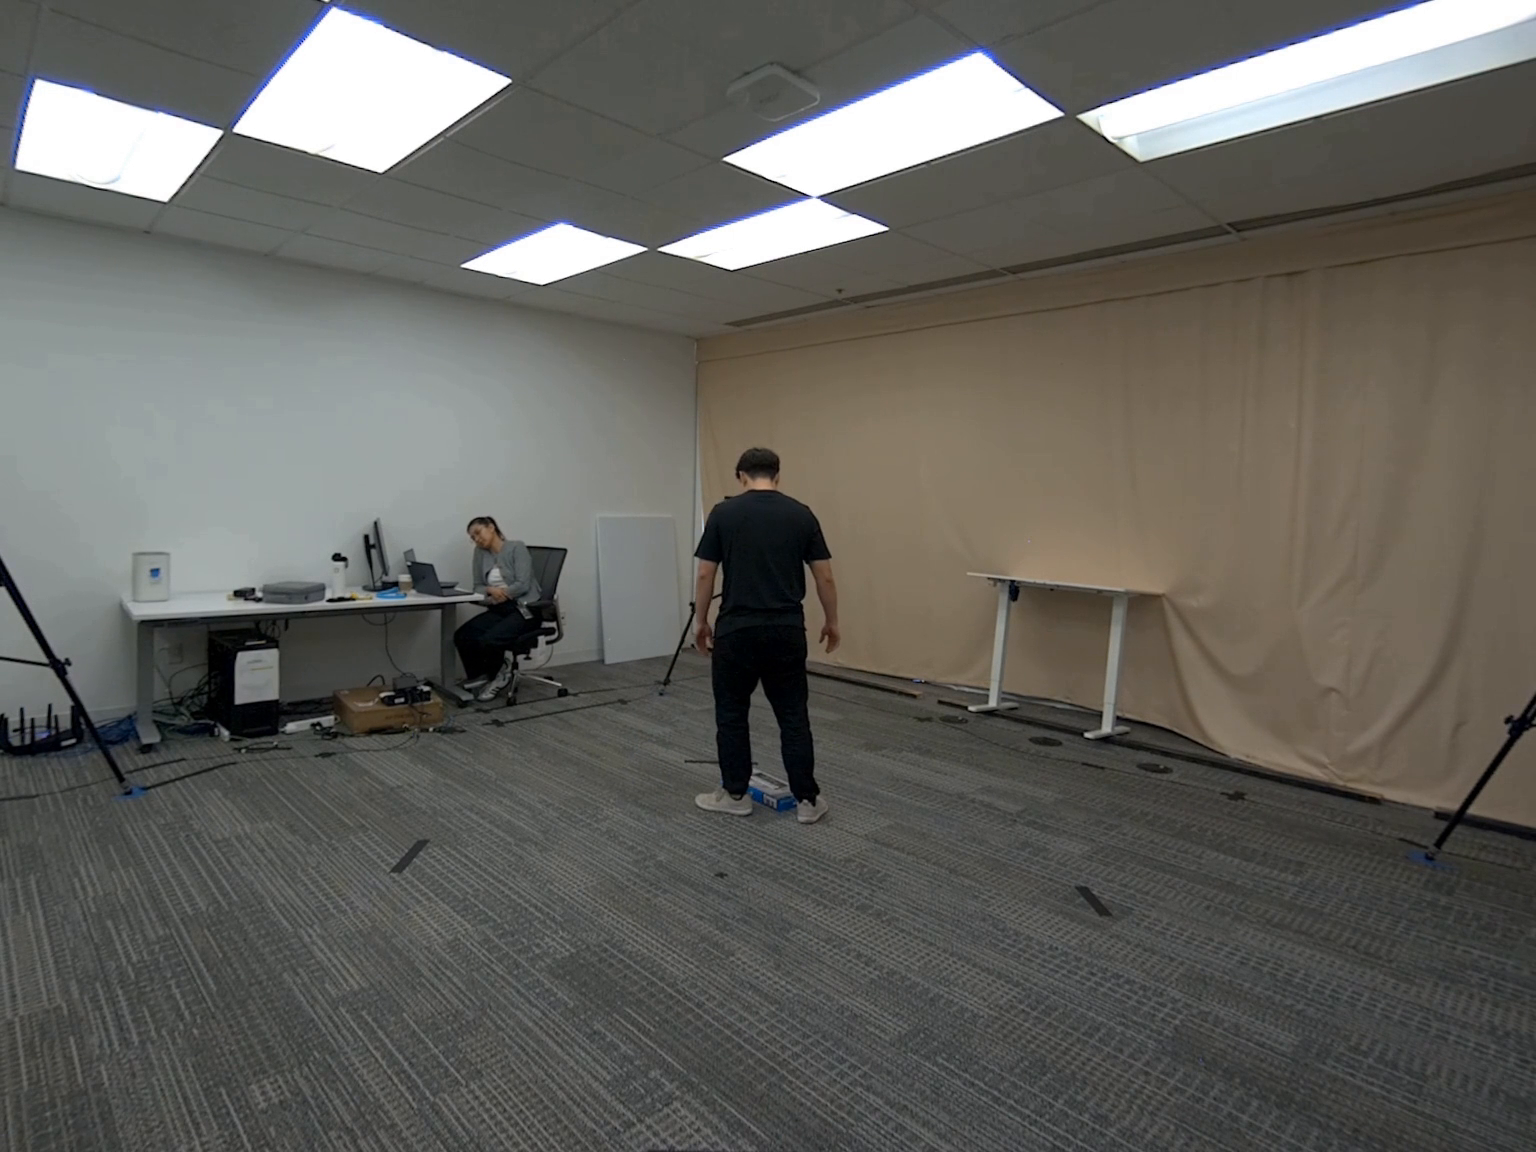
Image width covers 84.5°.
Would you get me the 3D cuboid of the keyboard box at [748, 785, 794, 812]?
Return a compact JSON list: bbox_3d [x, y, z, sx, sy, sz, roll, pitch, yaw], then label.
[{"bbox_3d":[-0.038,1.005,3.990,0.172,0.059,0.448,-2,6,-36],"label":"keyboard box"}]
